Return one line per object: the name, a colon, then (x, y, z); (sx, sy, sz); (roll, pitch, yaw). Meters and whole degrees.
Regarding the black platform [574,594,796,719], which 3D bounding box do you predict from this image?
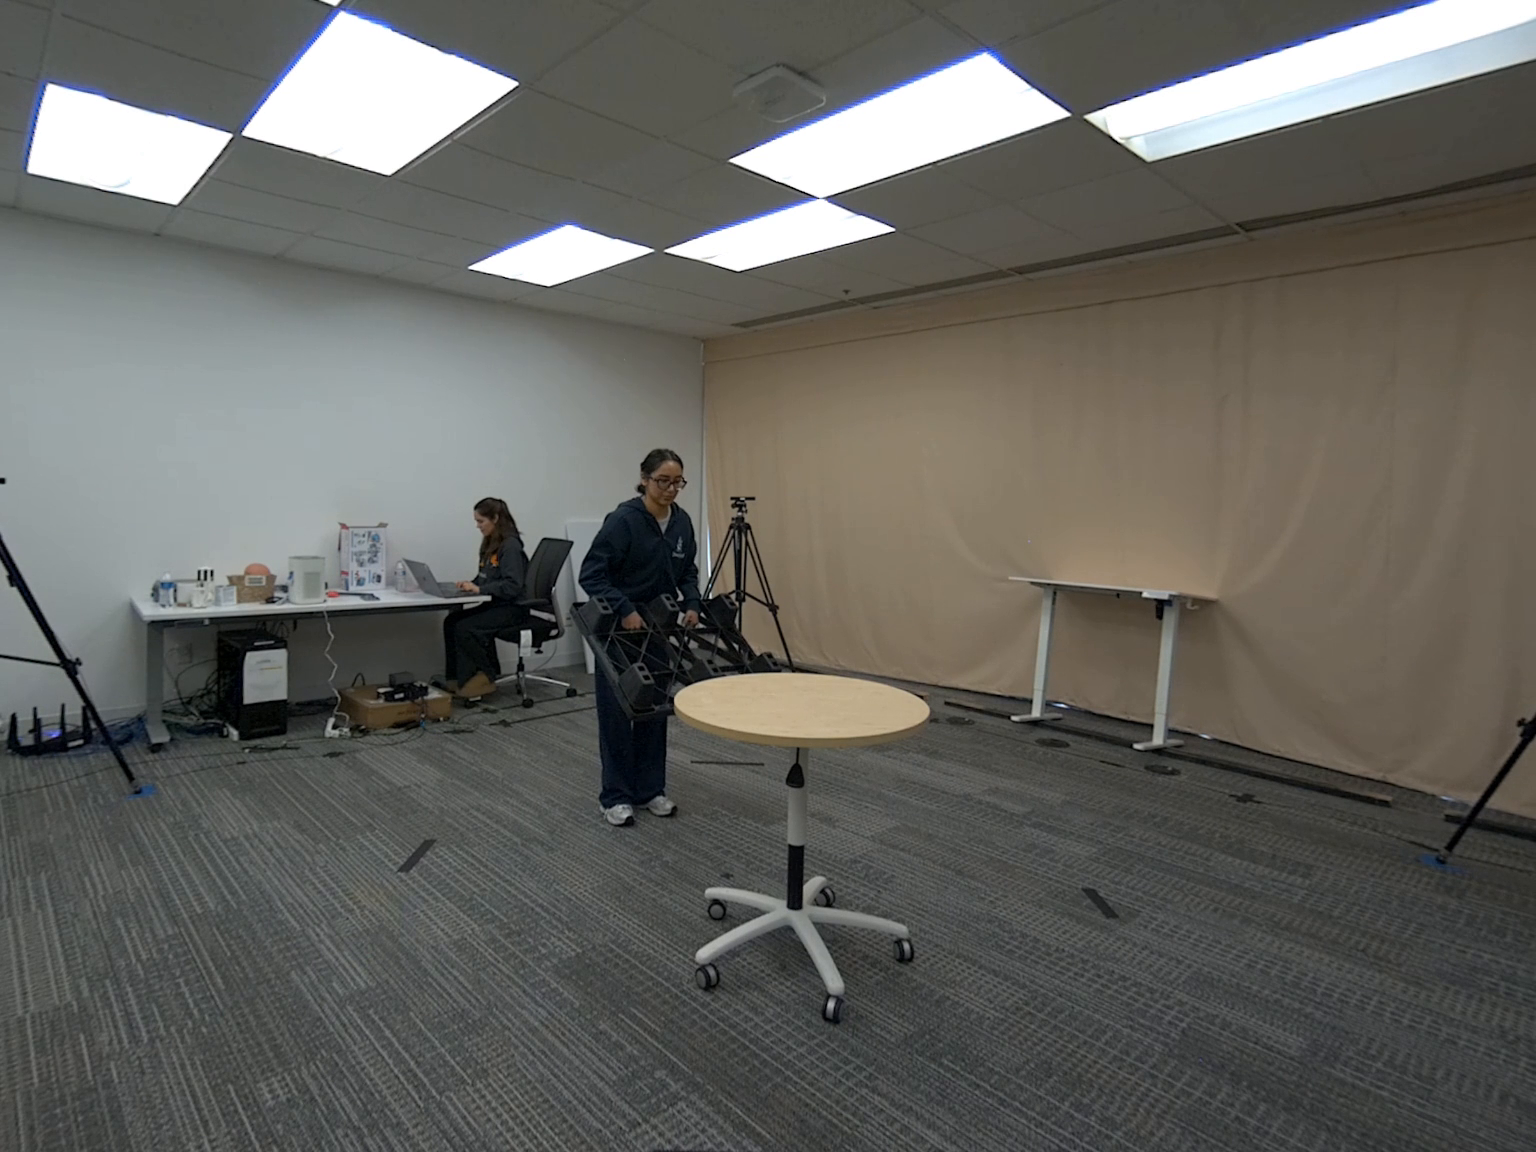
black platform: (-0.361, 0.287, 3.498); (0.787, 0.142, 0.623); (-2, 42, -44)
